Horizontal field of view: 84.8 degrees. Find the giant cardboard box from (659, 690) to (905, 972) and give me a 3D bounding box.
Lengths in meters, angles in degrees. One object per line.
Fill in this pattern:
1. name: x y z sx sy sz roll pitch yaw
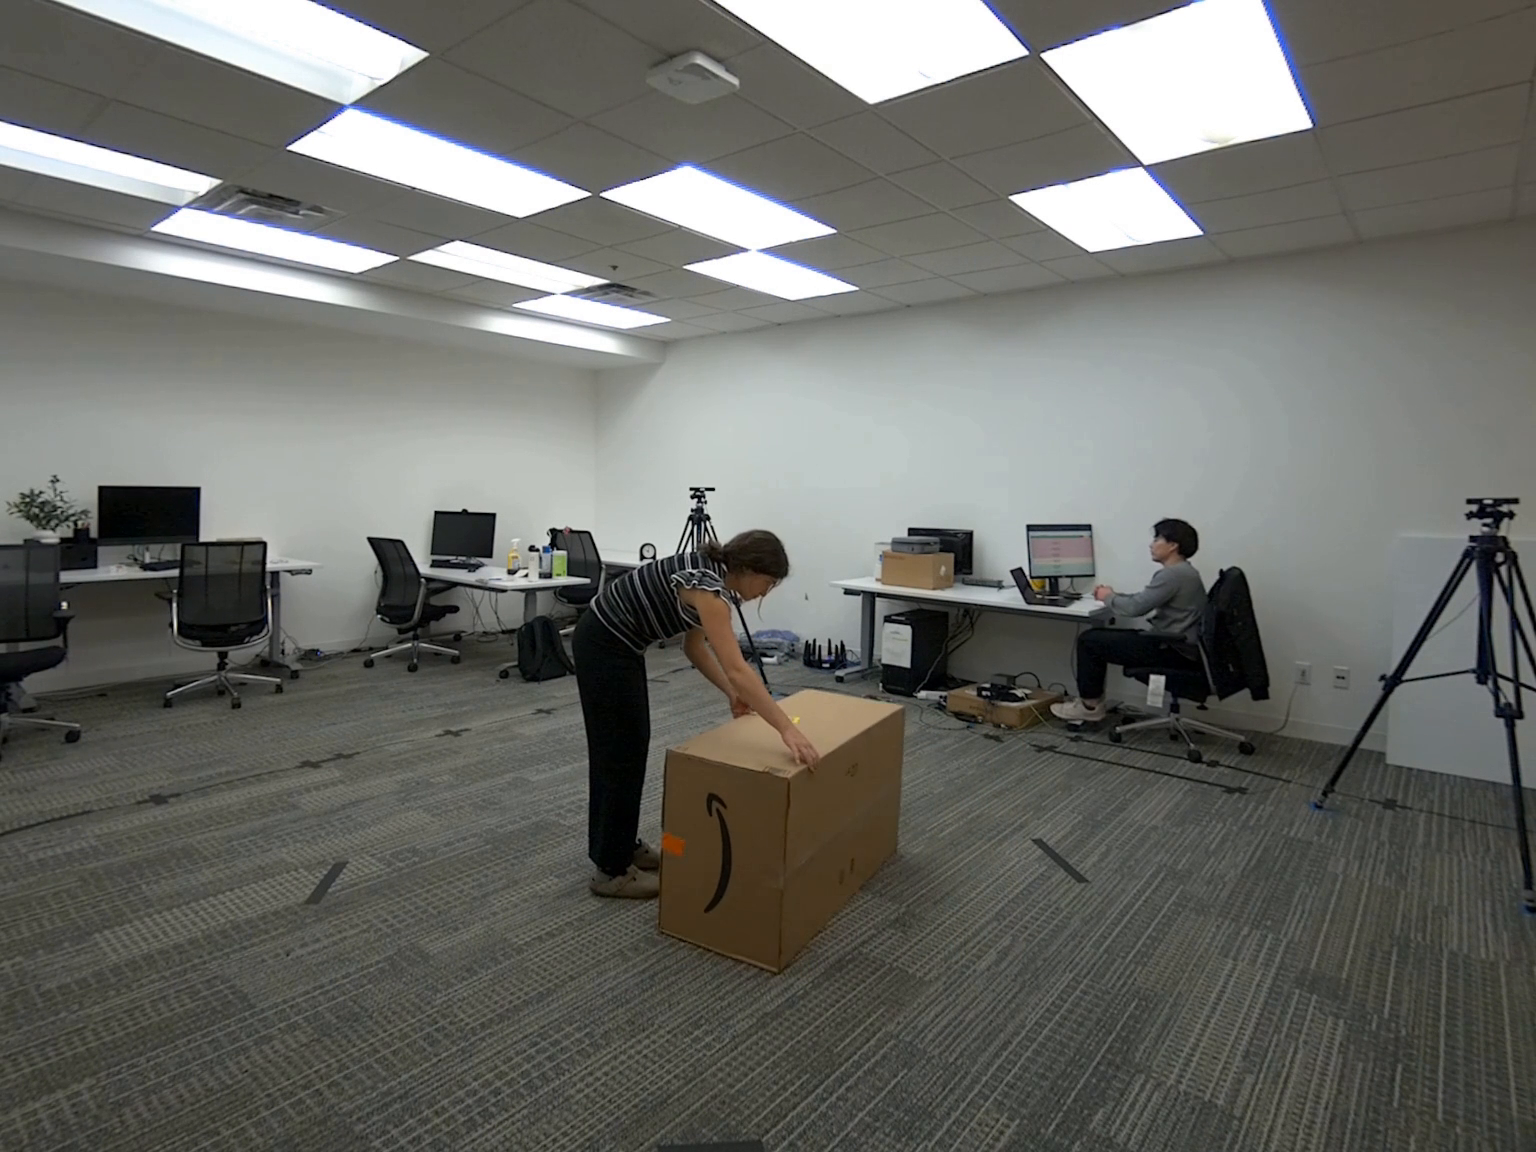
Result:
1. giant cardboard box: 0.083 0.797 2.959 0.438 0.575 1.000 4 5 28
